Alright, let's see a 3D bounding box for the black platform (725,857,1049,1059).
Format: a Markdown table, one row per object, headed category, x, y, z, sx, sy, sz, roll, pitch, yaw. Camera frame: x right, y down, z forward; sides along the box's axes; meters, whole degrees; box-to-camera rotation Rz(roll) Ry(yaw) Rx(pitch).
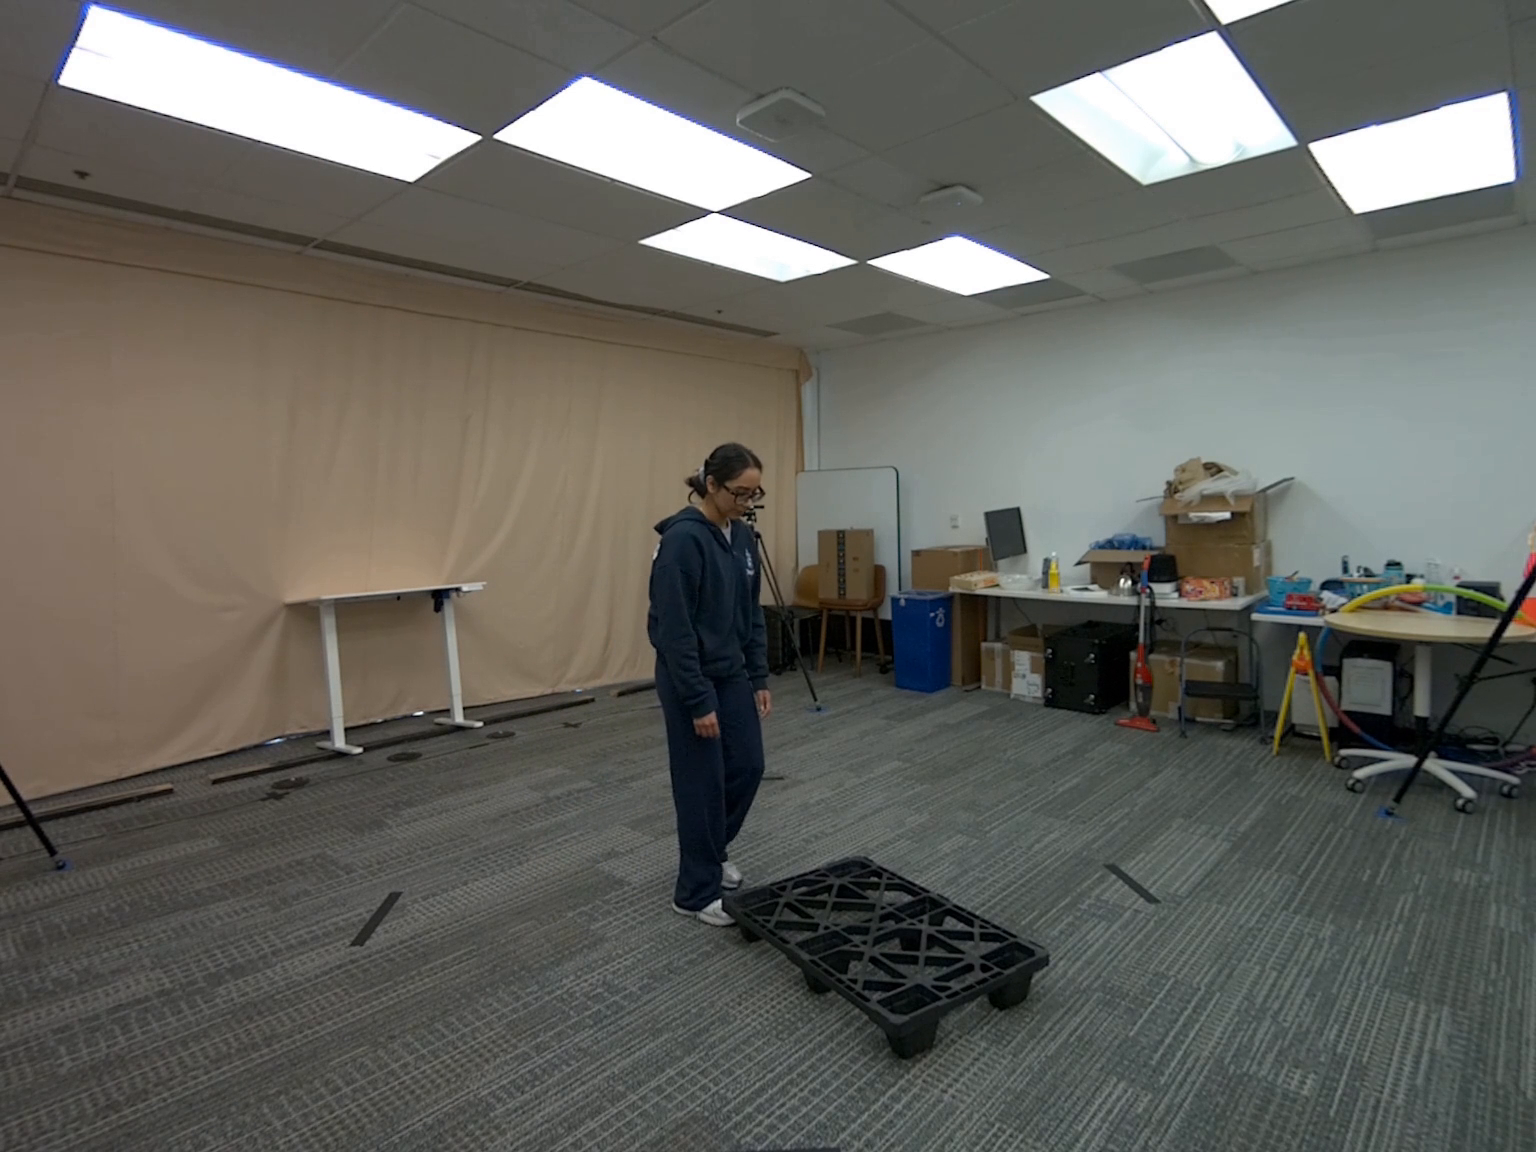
| category | x | y | z | sx | sy | sz | roll | pitch | yaw |
| --- | --- | --- | --- | --- | --- | --- | --- | --- | --- |
| black platform | 0.323 | 1.109 | 2.529 | 0.588 | 0.143 | 0.831 | -4 | 6 | -34 |
